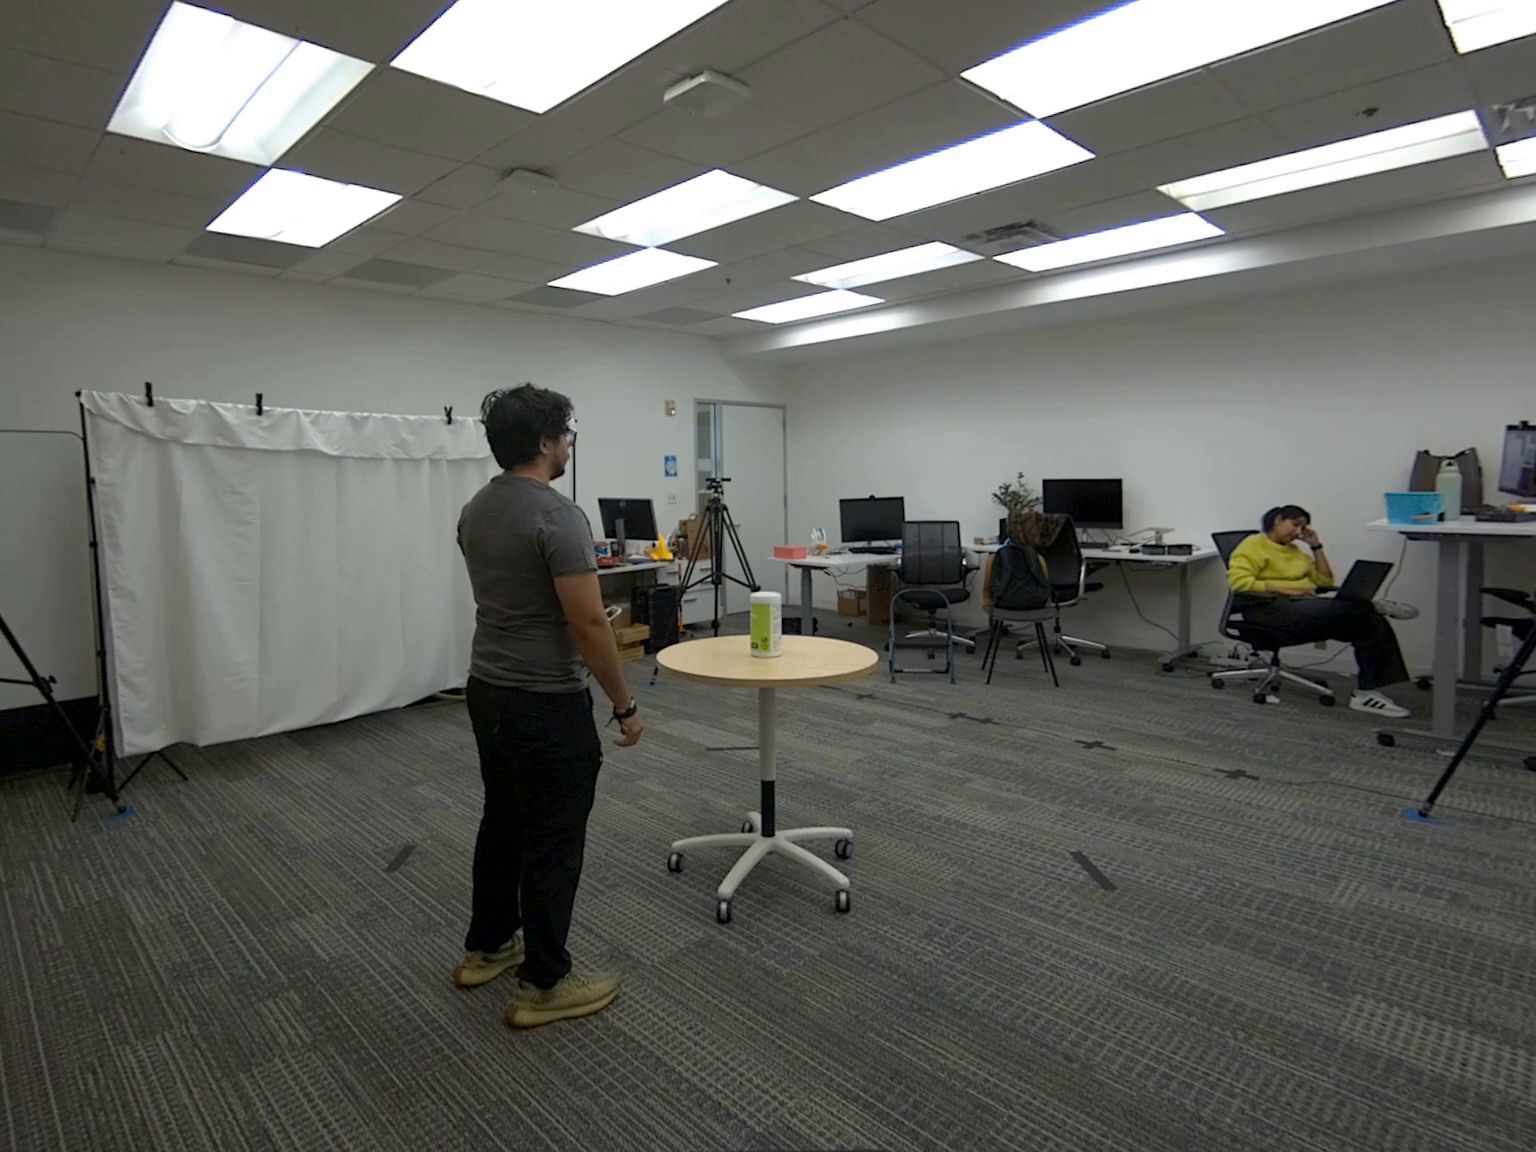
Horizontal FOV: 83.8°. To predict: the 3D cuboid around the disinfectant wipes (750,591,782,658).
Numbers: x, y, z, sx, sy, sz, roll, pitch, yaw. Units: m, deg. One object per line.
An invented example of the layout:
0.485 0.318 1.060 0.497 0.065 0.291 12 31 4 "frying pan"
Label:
-0.004 0.169 2.961 0.118 0.217 0.118 -2 4 -2 "disinfectant wipes"
